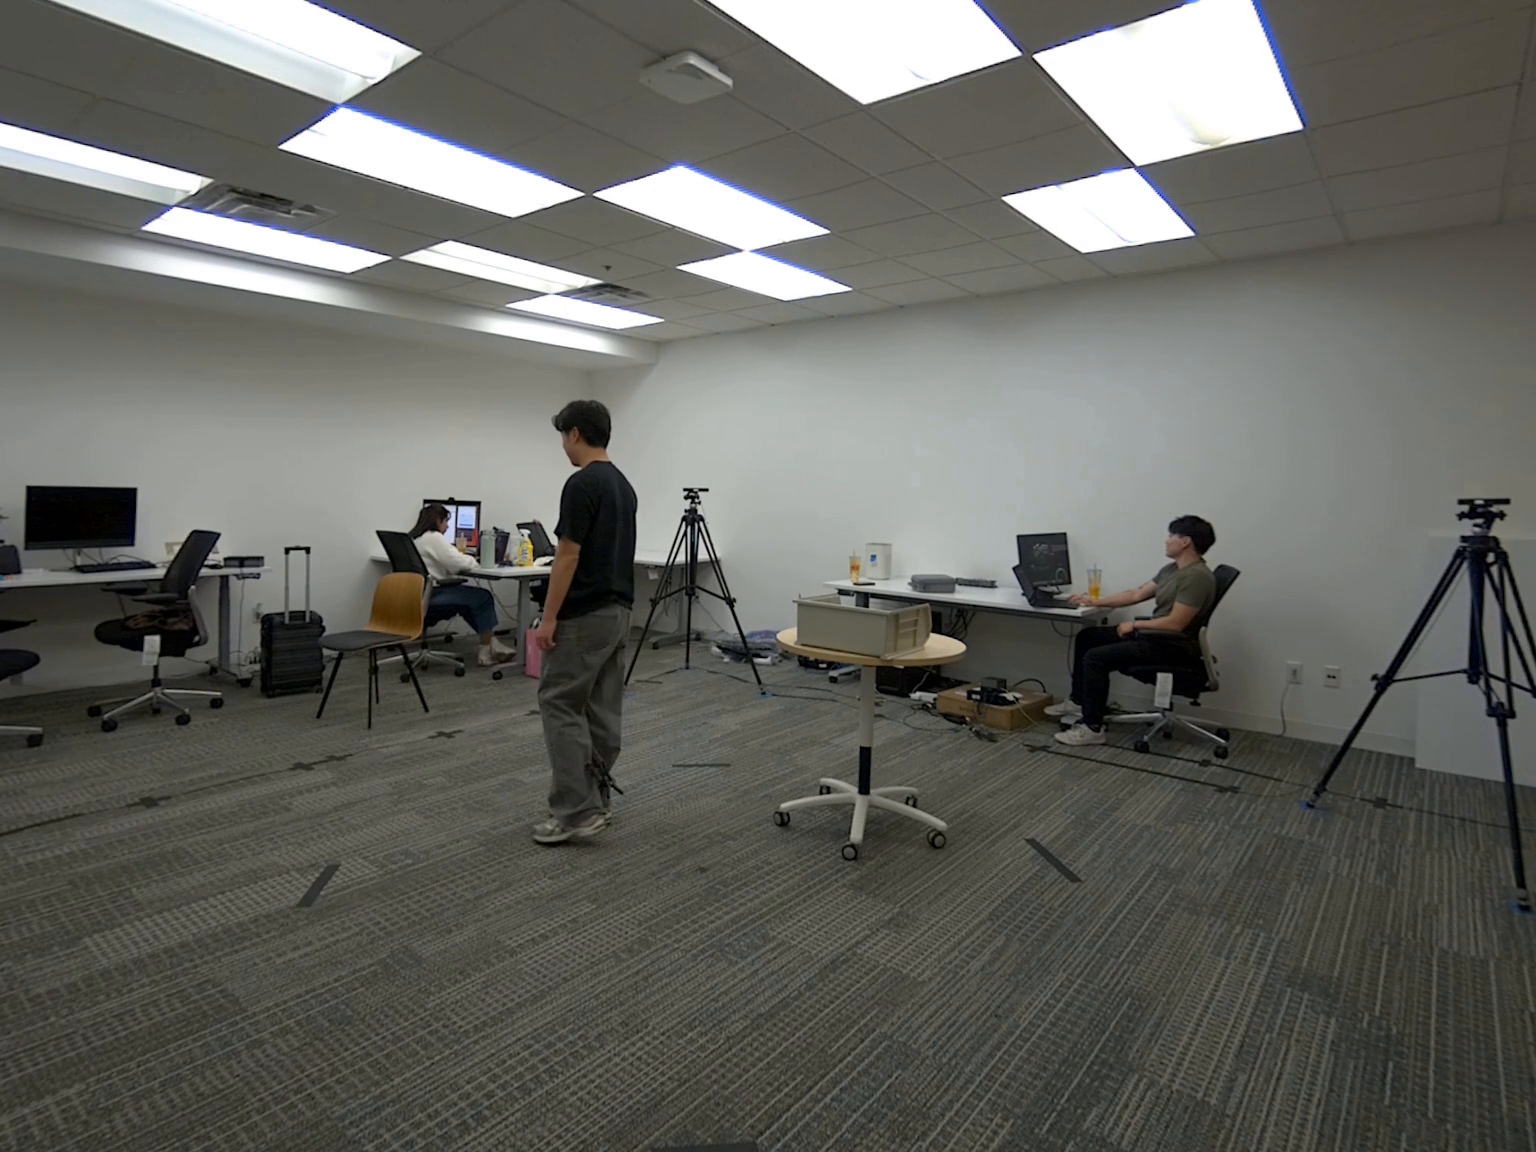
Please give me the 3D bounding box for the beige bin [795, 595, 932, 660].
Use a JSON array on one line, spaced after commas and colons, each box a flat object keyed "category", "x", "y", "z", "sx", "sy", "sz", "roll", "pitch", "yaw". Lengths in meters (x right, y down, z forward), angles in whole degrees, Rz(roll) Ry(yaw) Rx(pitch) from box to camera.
[{"category": "beige bin", "x": 0.364, "y": 0.187, "z": 3.345, "sx": 0.437, "sy": 0.188, "sz": 0.366, "roll": 7, "pitch": 8, "yaw": 39}]
